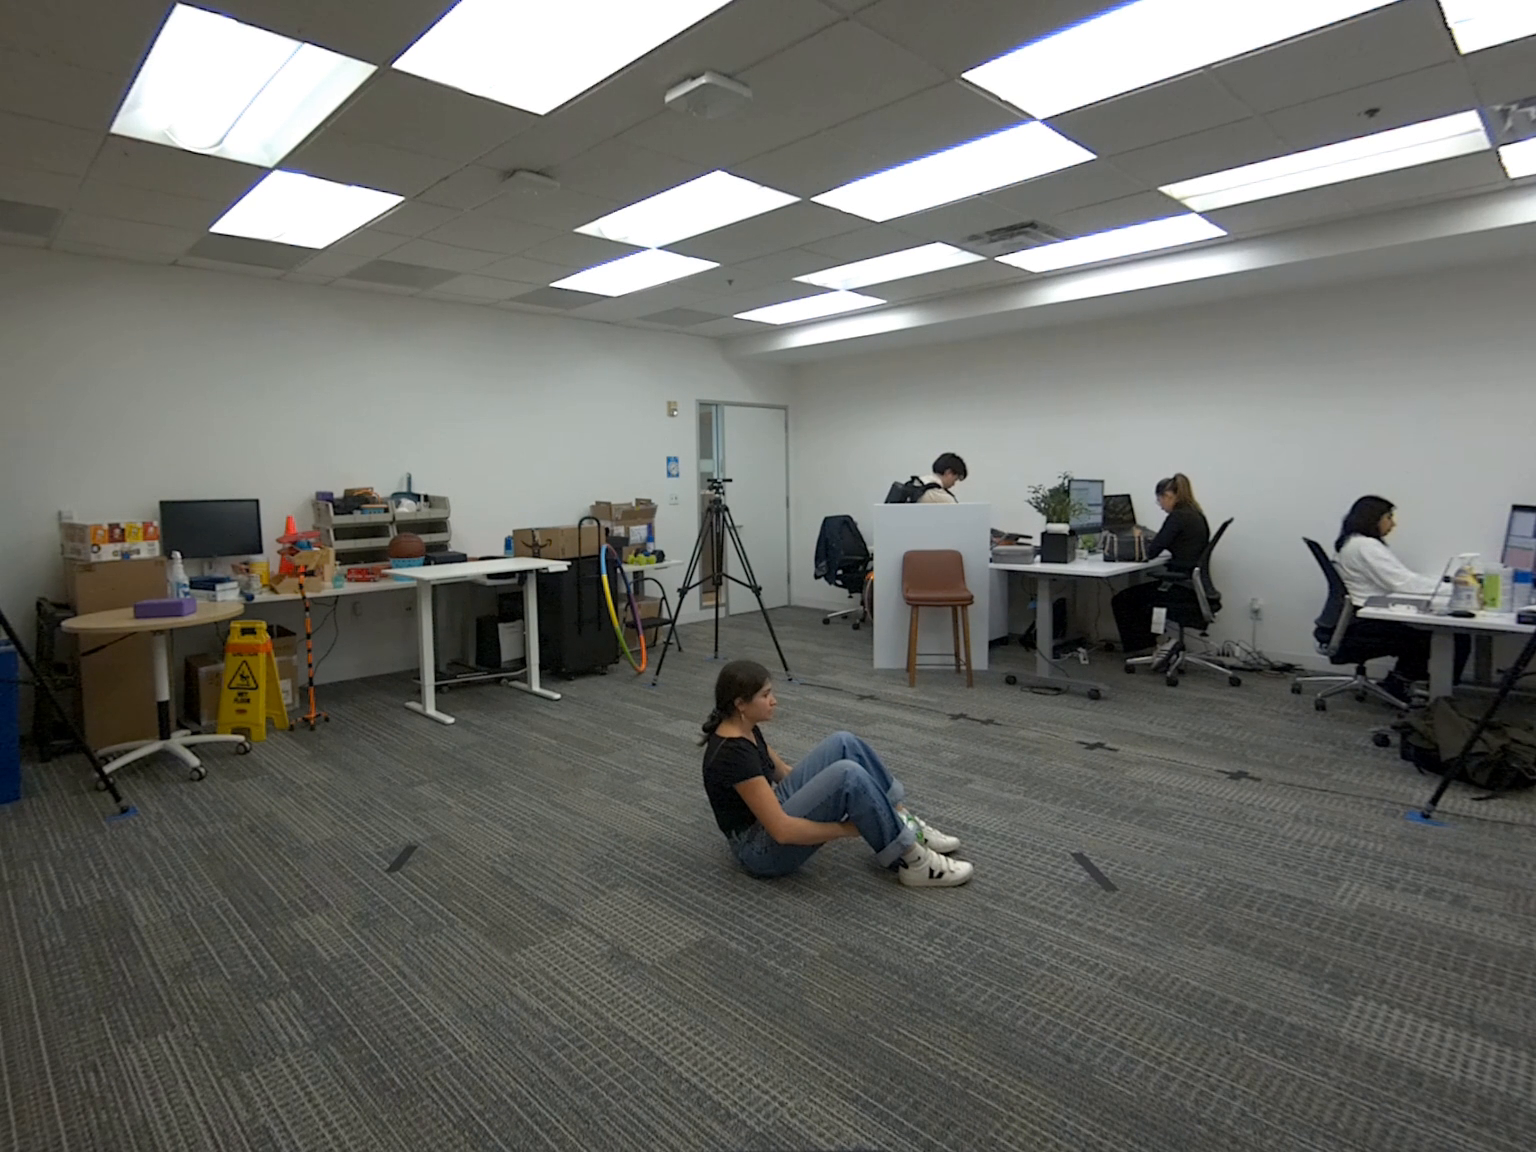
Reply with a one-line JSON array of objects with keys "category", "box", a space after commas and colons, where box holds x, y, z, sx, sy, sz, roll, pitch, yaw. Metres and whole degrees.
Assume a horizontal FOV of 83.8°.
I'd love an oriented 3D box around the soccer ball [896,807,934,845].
[{"category": "soccer ball", "box": [0.458, 0.942, 3.079, 0.187, 0.187, 0.188, 0, 1, -2]}]
